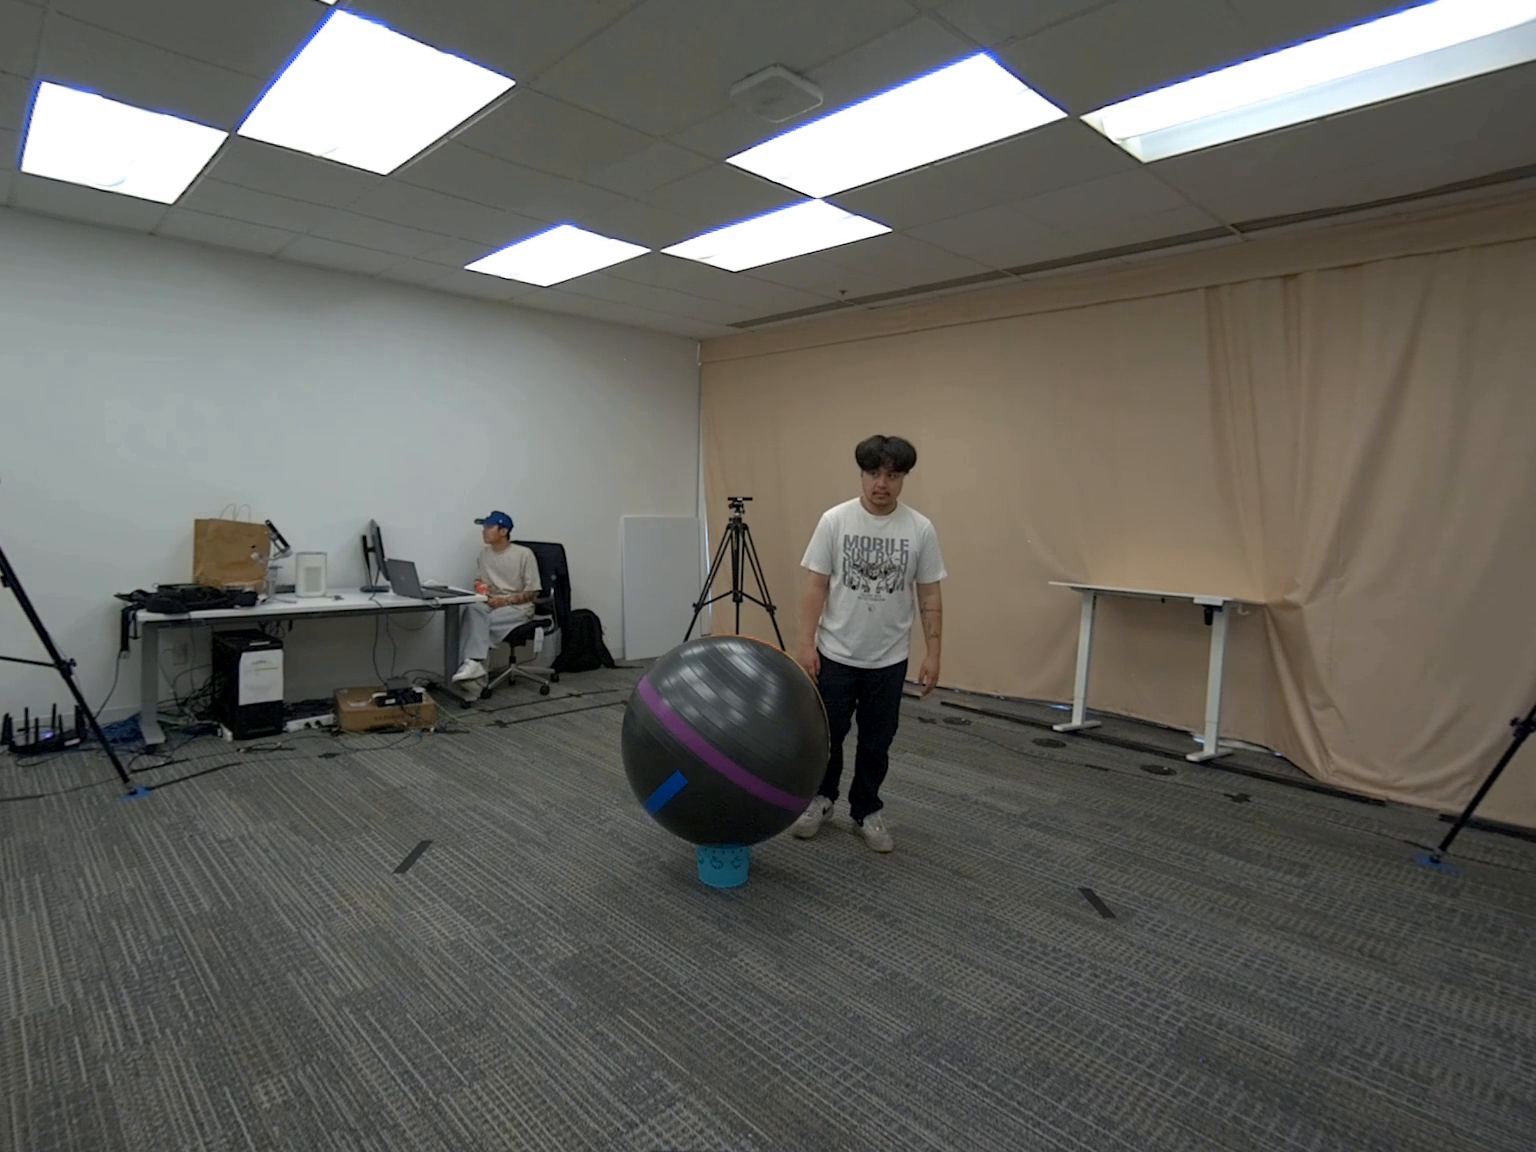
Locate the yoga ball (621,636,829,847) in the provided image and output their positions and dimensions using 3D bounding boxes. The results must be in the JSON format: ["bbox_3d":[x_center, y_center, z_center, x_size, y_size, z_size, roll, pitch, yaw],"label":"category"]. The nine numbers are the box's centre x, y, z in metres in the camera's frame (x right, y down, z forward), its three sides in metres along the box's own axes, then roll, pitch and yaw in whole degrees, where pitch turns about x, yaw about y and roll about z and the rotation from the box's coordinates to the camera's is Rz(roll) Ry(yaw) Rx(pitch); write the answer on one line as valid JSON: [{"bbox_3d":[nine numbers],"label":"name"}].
[{"bbox_3d":[-0.159,0.600,3.085,0.757,0.756,0.761,1,4,-1],"label":"yoga ball"}]
